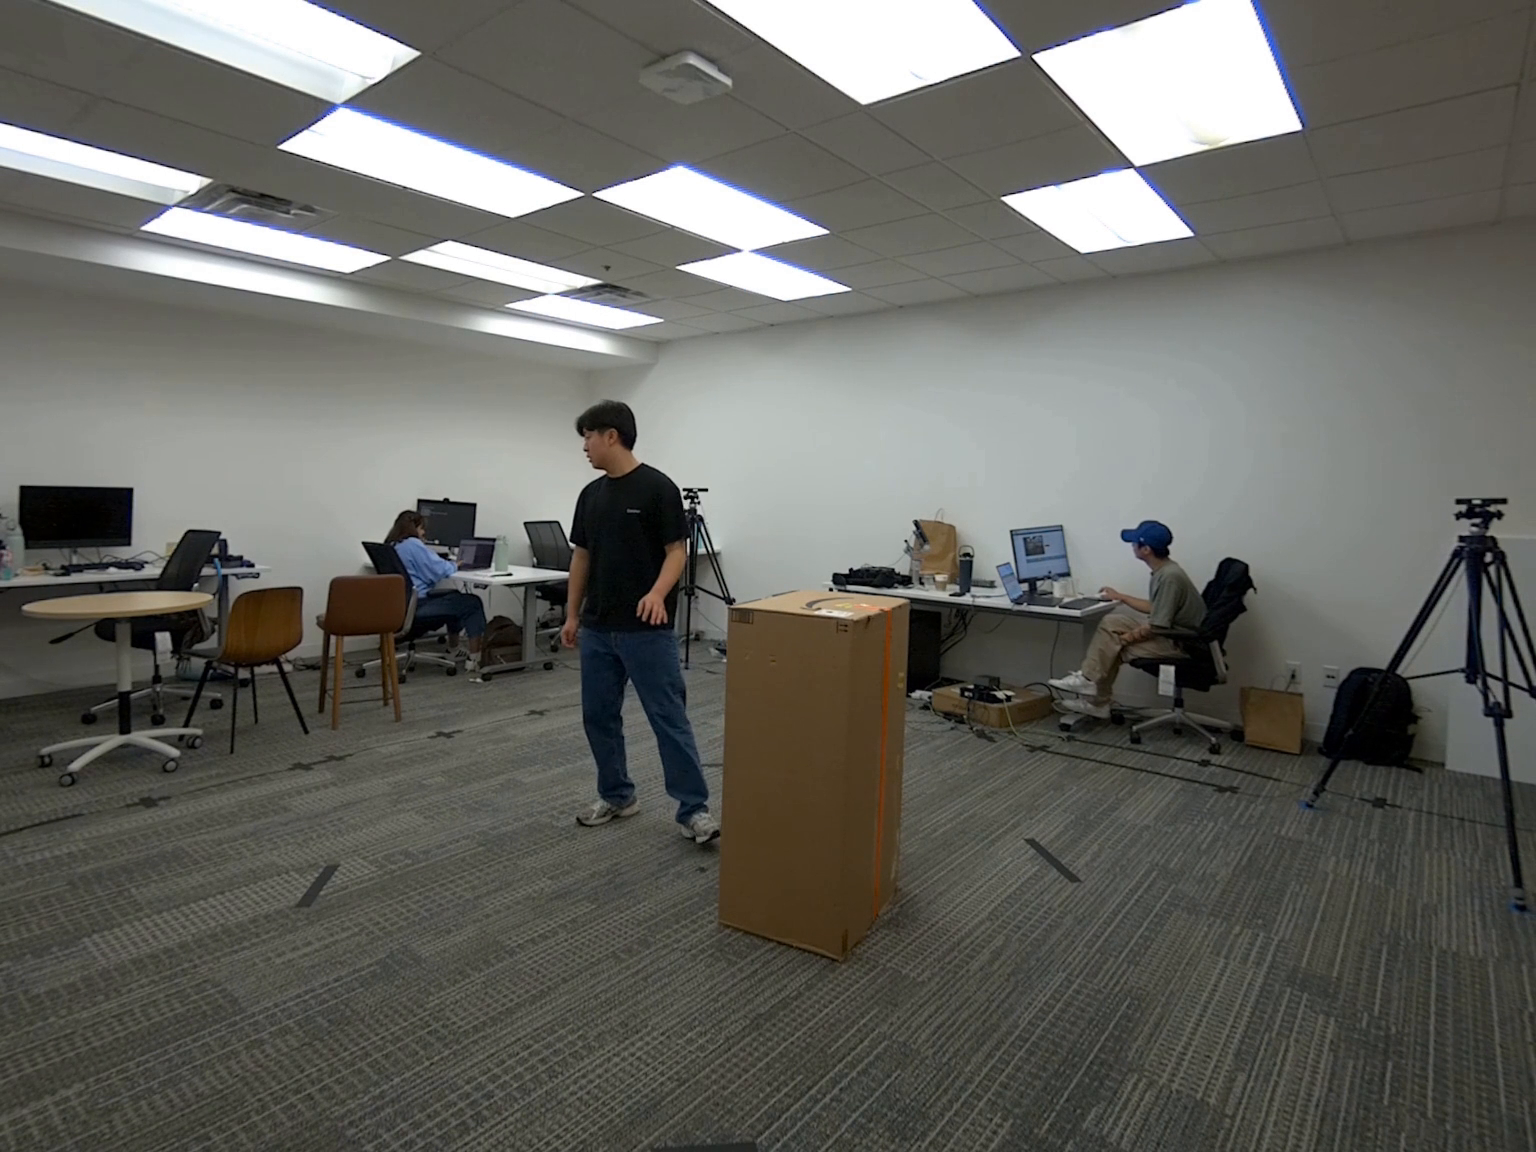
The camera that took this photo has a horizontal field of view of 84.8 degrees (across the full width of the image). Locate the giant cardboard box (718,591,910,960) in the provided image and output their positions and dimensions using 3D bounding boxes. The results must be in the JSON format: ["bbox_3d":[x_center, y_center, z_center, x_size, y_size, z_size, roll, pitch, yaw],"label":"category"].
[{"bbox_3d":[0.164,0.592,2.836,0.460,1.024,0.569,4,4,28],"label":"giant cardboard box"}]
